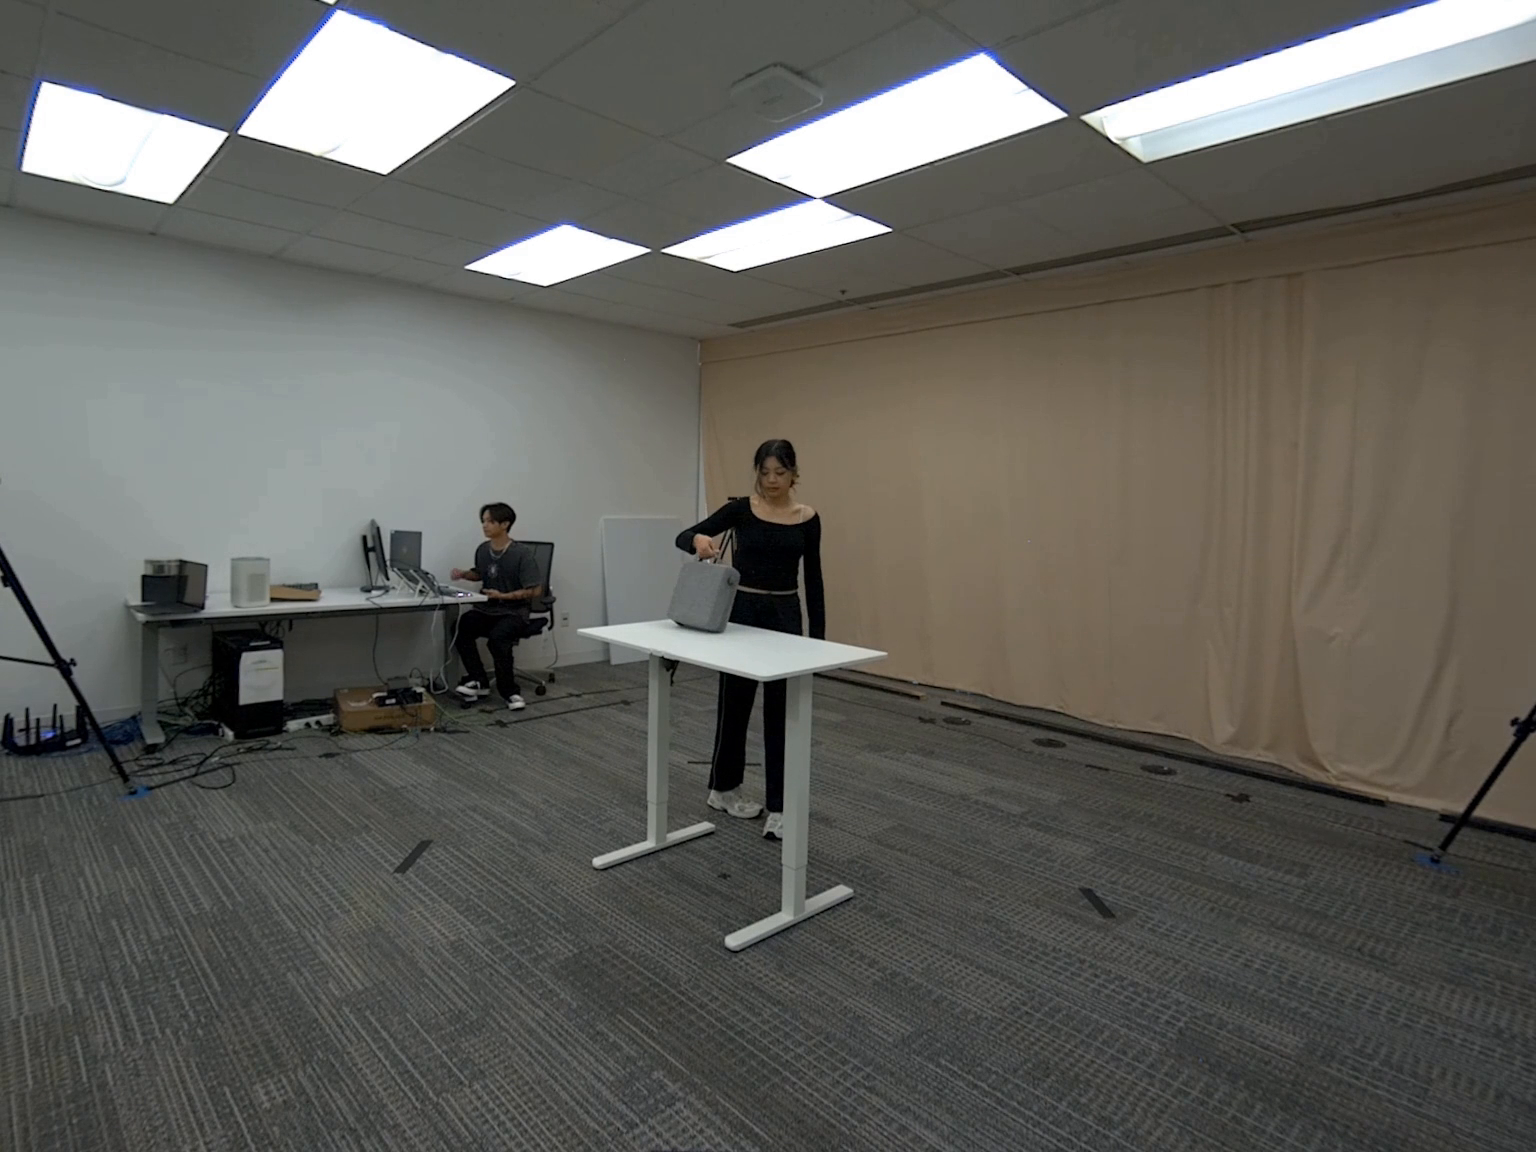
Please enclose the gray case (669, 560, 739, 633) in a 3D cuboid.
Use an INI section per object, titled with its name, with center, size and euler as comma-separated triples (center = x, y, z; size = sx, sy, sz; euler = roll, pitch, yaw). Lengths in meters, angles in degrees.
[gray case]
center = -0.258, 0.075, 3.242
size = 0.263, 0.262, 0.101
euler = 5, -14, 44
